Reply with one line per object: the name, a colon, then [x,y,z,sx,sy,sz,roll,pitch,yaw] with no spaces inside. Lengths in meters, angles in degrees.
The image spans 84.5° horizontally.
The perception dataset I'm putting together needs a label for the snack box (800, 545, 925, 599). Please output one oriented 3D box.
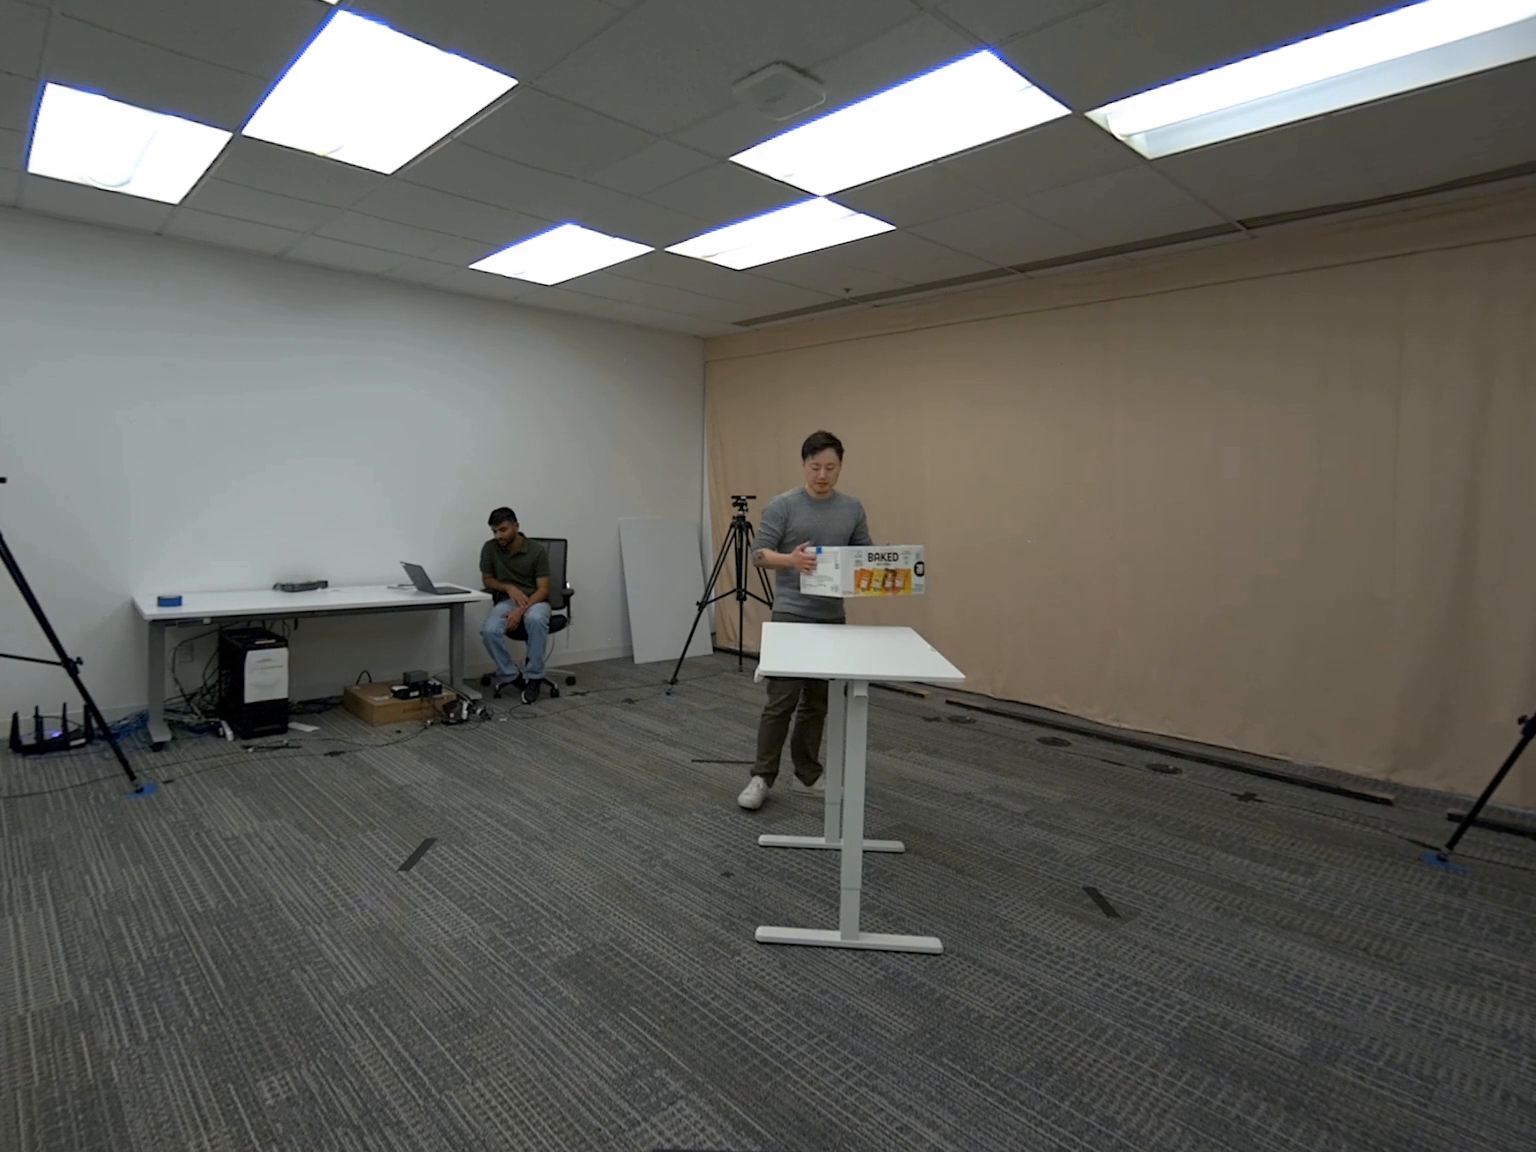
snack box: [0.380,-0.024,3.553,0.398,0.205,0.346,-2,1,-25]
